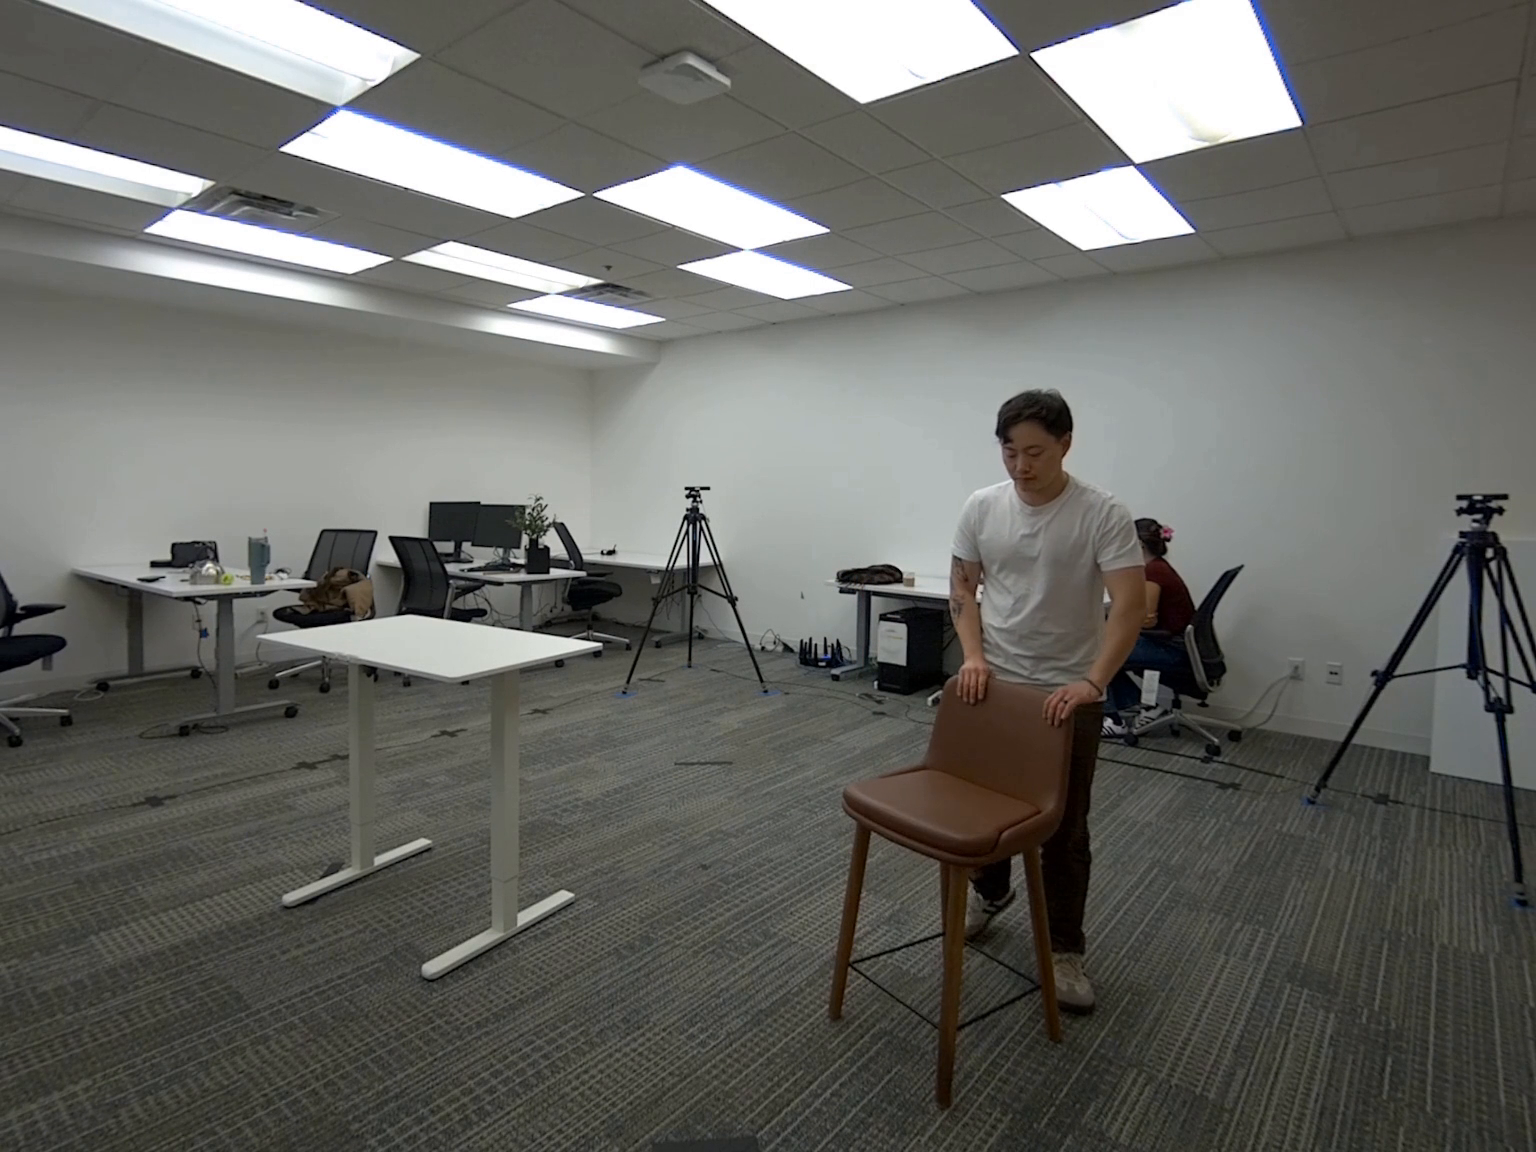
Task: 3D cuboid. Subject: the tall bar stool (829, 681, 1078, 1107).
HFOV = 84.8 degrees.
[{"bbox_3d":[0.467,0.731,2.187,0.453,0.888,0.471,2,2,-35],"label":"tall bar stool"}]
